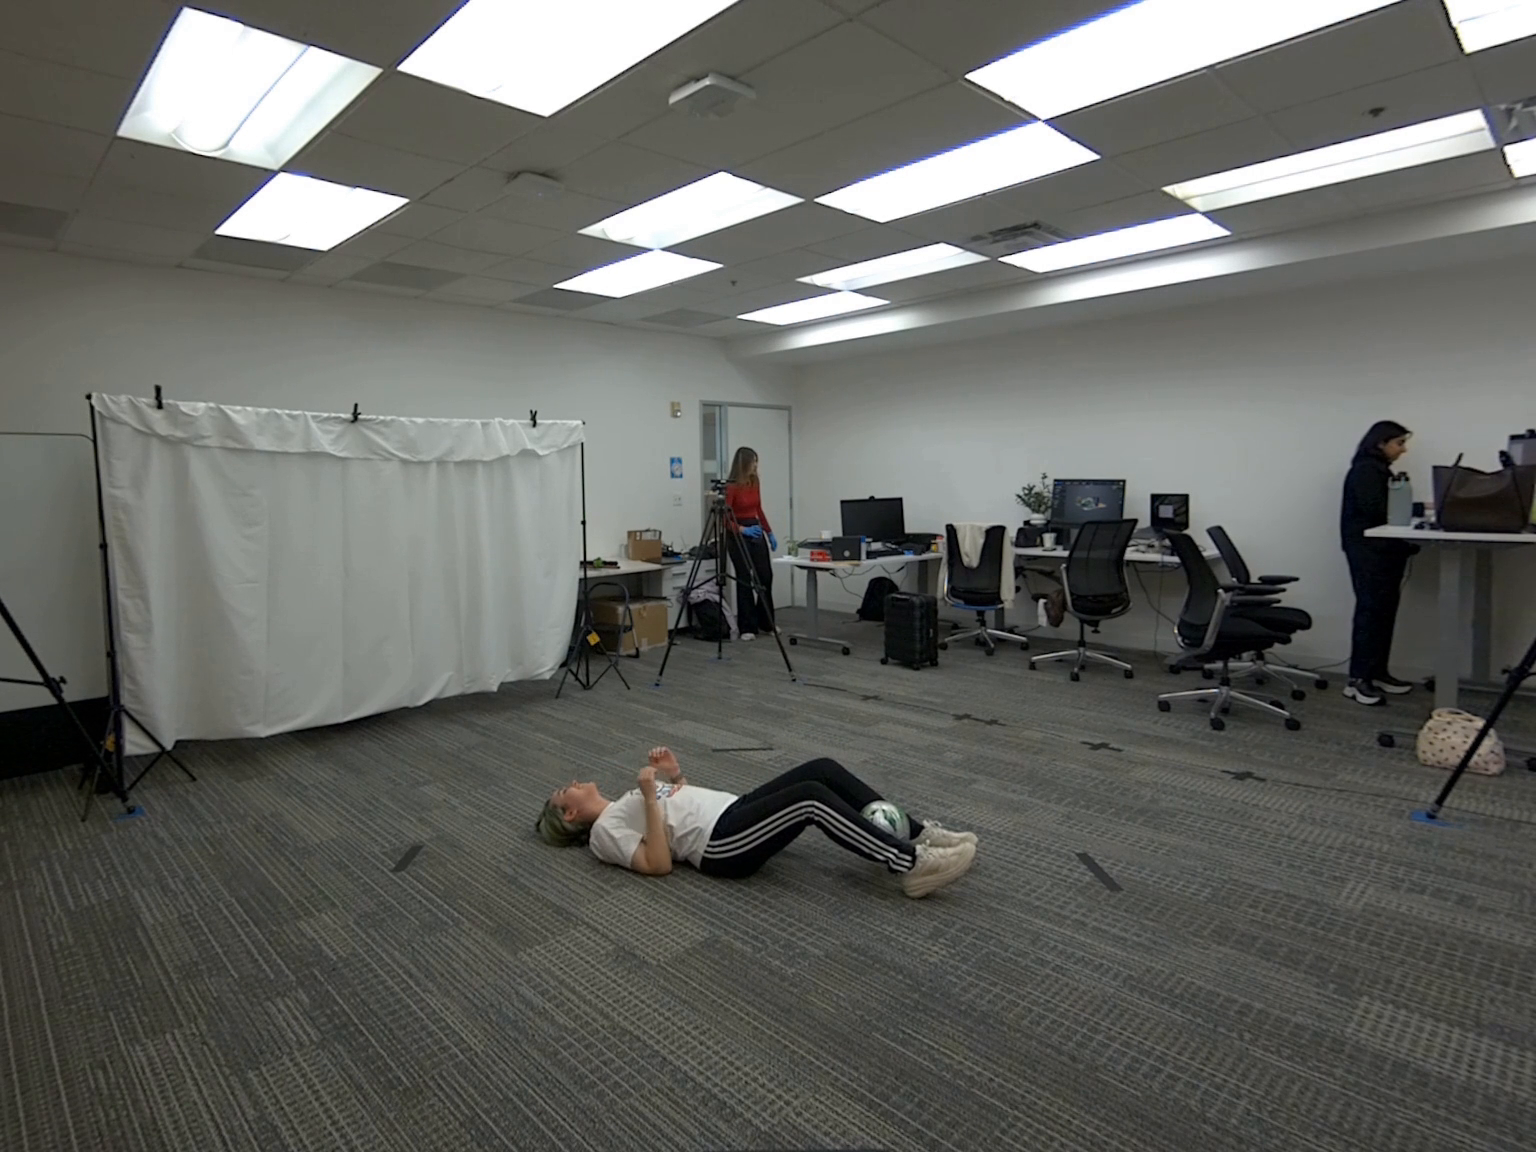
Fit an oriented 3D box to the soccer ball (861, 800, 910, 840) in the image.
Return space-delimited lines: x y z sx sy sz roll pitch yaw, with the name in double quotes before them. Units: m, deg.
"soccer ball" 0.395 0.888 3.008 0.187 0.187 0.188 -1 5 -2
